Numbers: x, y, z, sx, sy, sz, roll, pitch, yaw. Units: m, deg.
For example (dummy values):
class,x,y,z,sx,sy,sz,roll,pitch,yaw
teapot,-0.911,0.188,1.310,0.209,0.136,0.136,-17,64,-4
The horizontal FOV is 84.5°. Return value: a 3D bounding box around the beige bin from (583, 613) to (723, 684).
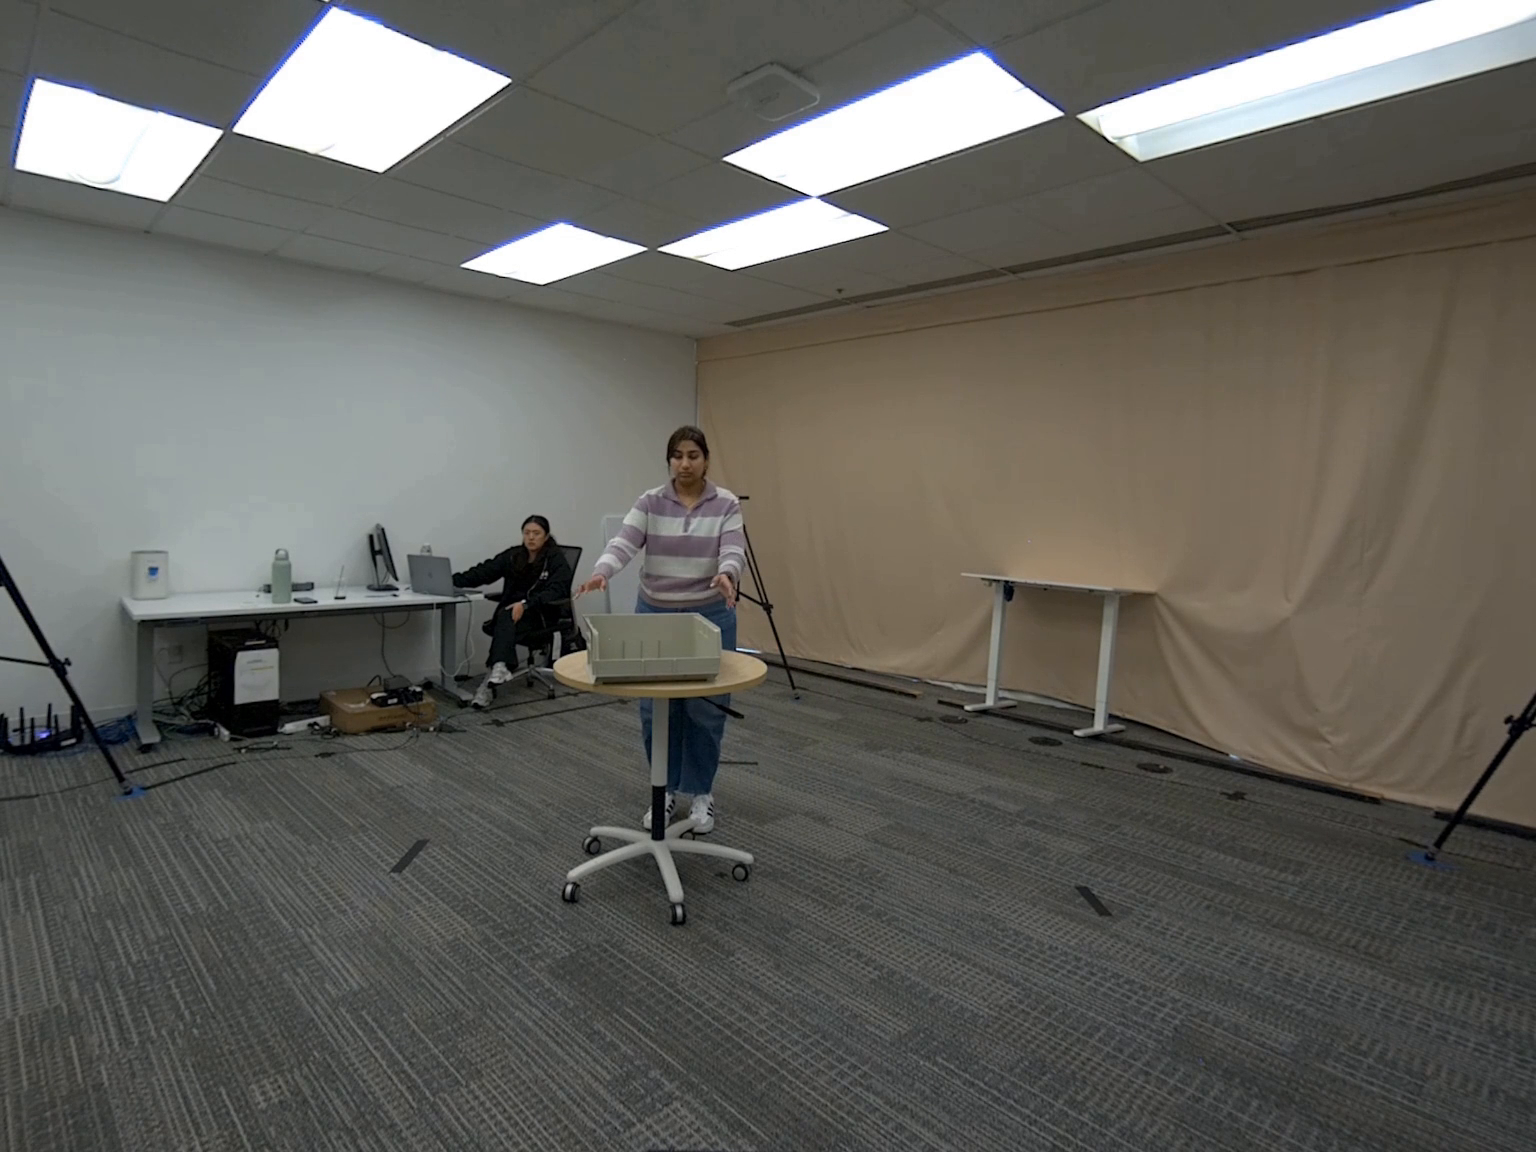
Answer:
class,x,y,z,sx,sy,sz,roll,pitch,yaw
beige bin,-0.413,0.249,2.871,0.417,0.188,0.383,-1,4,-16
